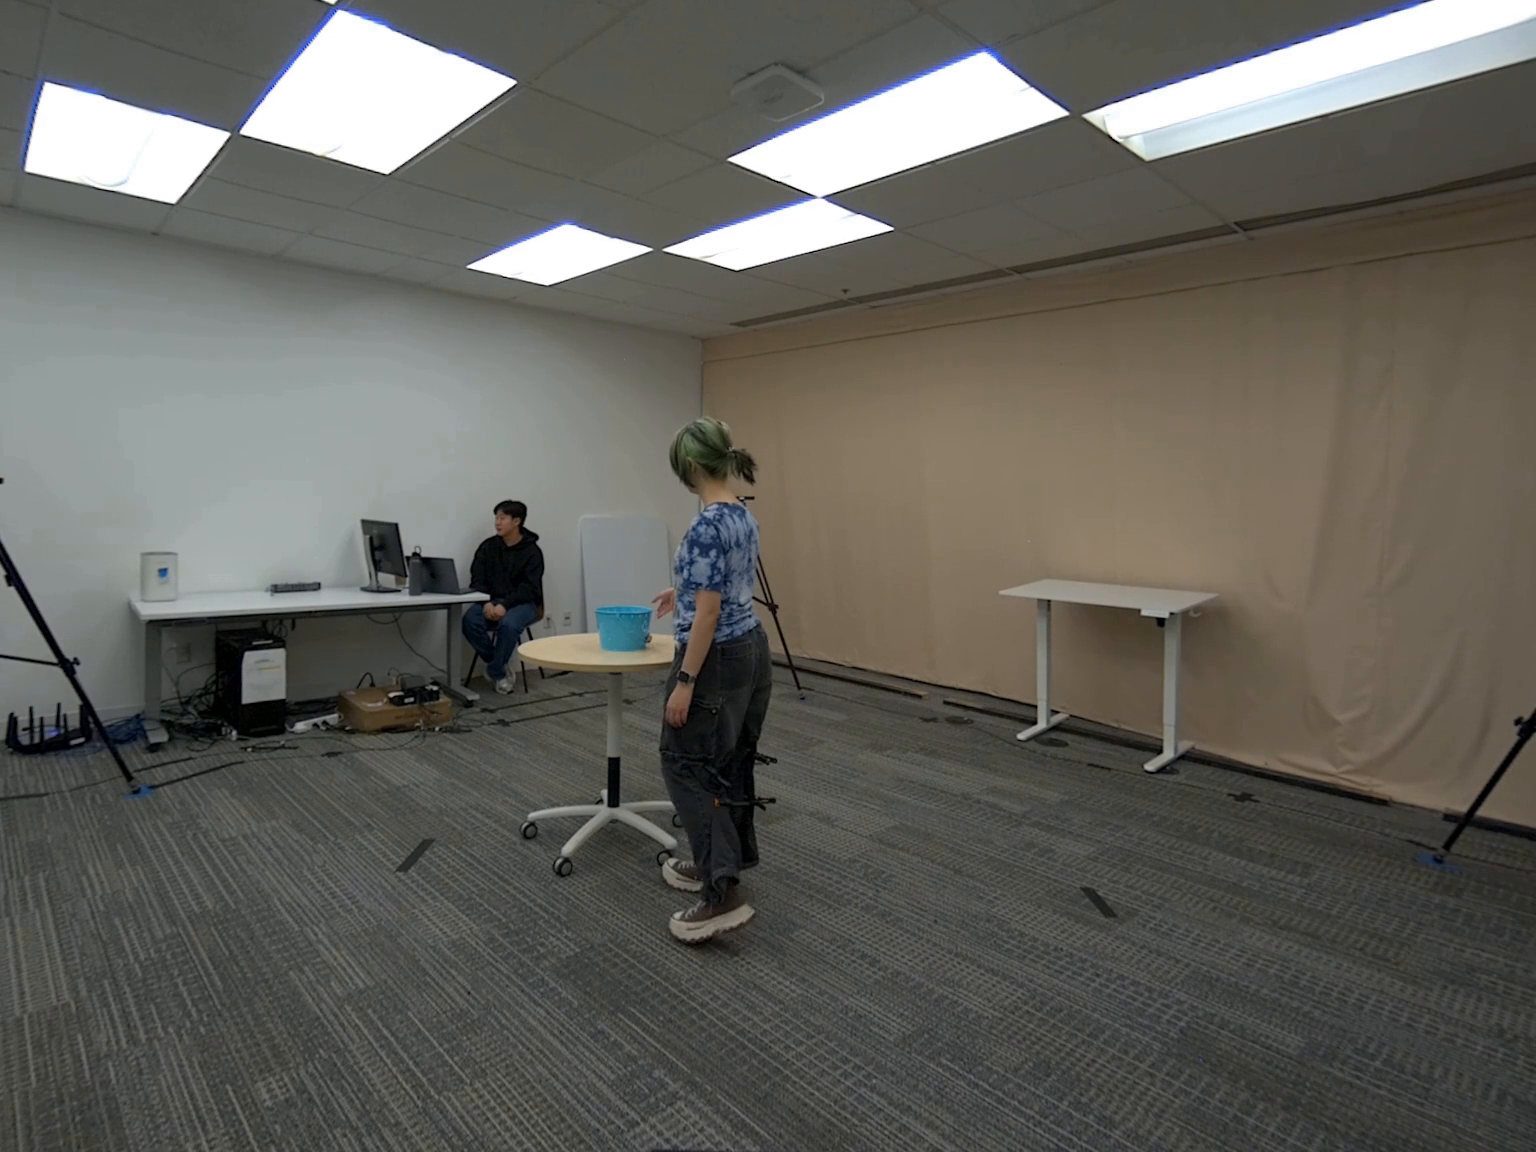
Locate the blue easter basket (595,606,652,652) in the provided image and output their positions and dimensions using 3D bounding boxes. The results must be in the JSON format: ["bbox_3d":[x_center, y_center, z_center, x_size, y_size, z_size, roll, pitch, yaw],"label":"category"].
[{"bbox_3d":[-0.585,0.212,3.355,0.243,0.155,0.244,1,3,-1],"label":"blue easter basket"}]
